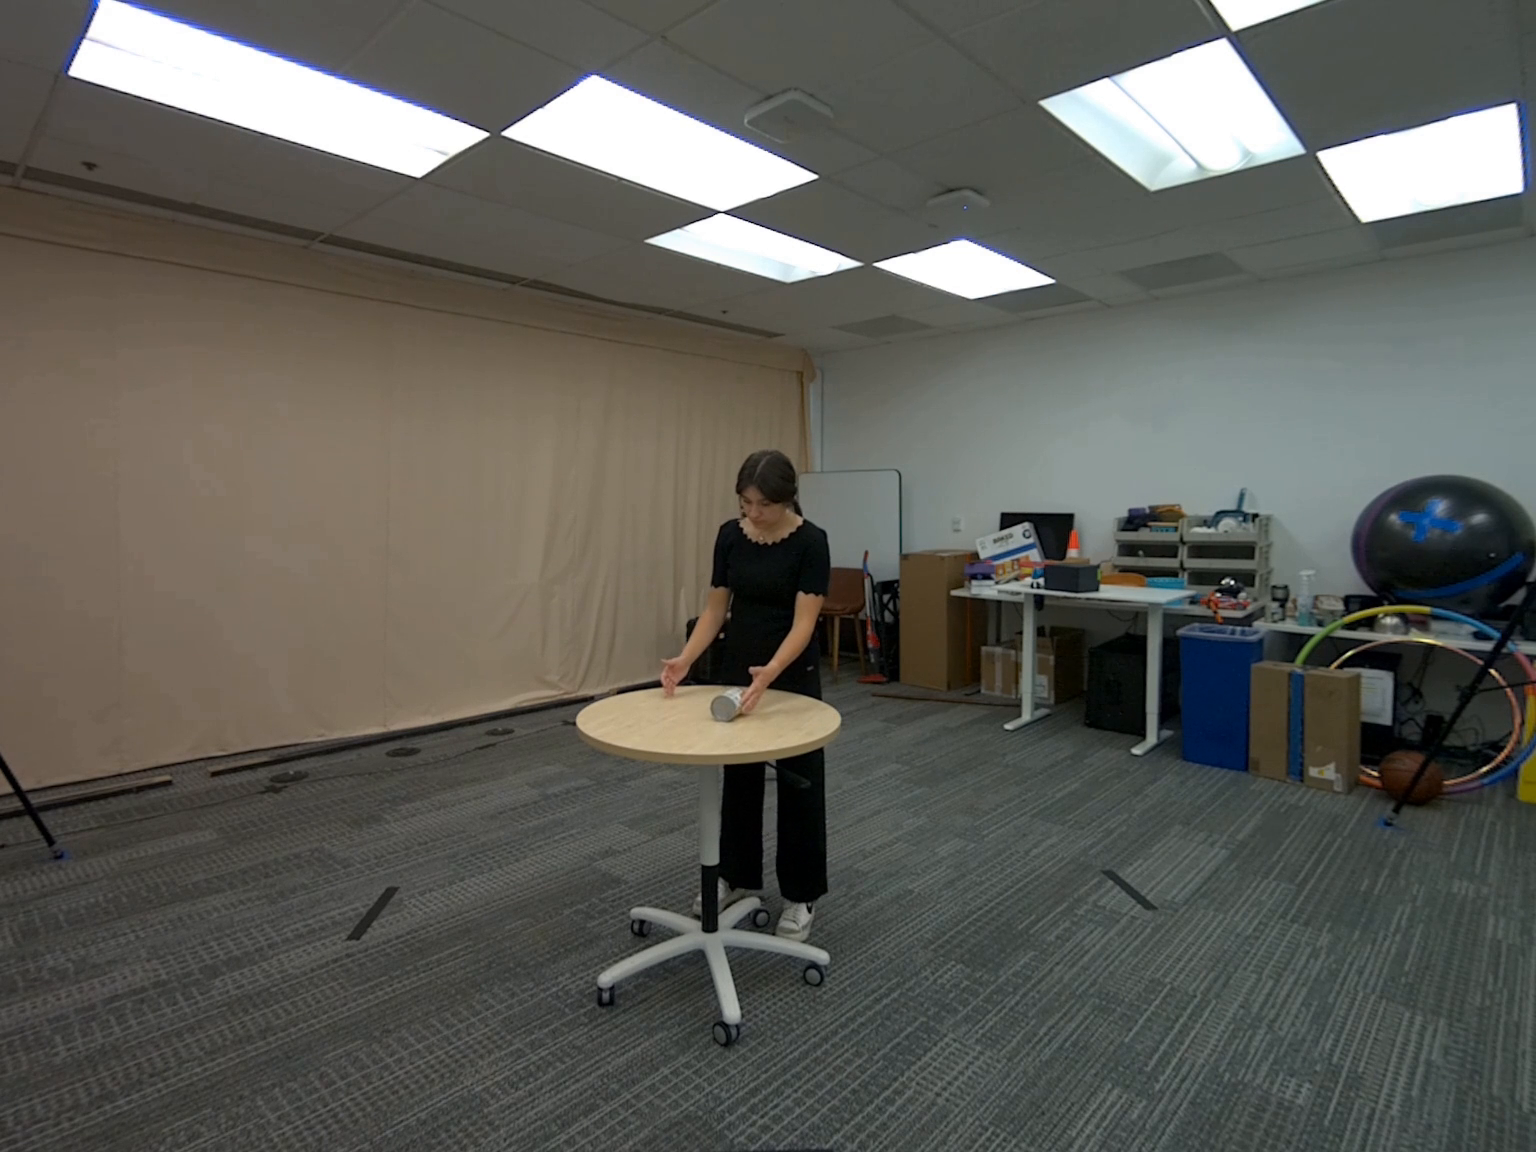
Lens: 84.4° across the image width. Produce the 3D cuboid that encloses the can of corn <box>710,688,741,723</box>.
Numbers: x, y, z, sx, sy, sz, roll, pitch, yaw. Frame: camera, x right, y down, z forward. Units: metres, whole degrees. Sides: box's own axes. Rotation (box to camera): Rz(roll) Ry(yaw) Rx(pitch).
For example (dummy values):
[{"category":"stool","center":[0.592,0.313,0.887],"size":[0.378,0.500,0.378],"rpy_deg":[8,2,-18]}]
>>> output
[{"category":"can of corn","center":[-0.115,0.366,2.427],"size":[0.075,0.074,0.109],"rpy_deg":[1,5,17]}]
